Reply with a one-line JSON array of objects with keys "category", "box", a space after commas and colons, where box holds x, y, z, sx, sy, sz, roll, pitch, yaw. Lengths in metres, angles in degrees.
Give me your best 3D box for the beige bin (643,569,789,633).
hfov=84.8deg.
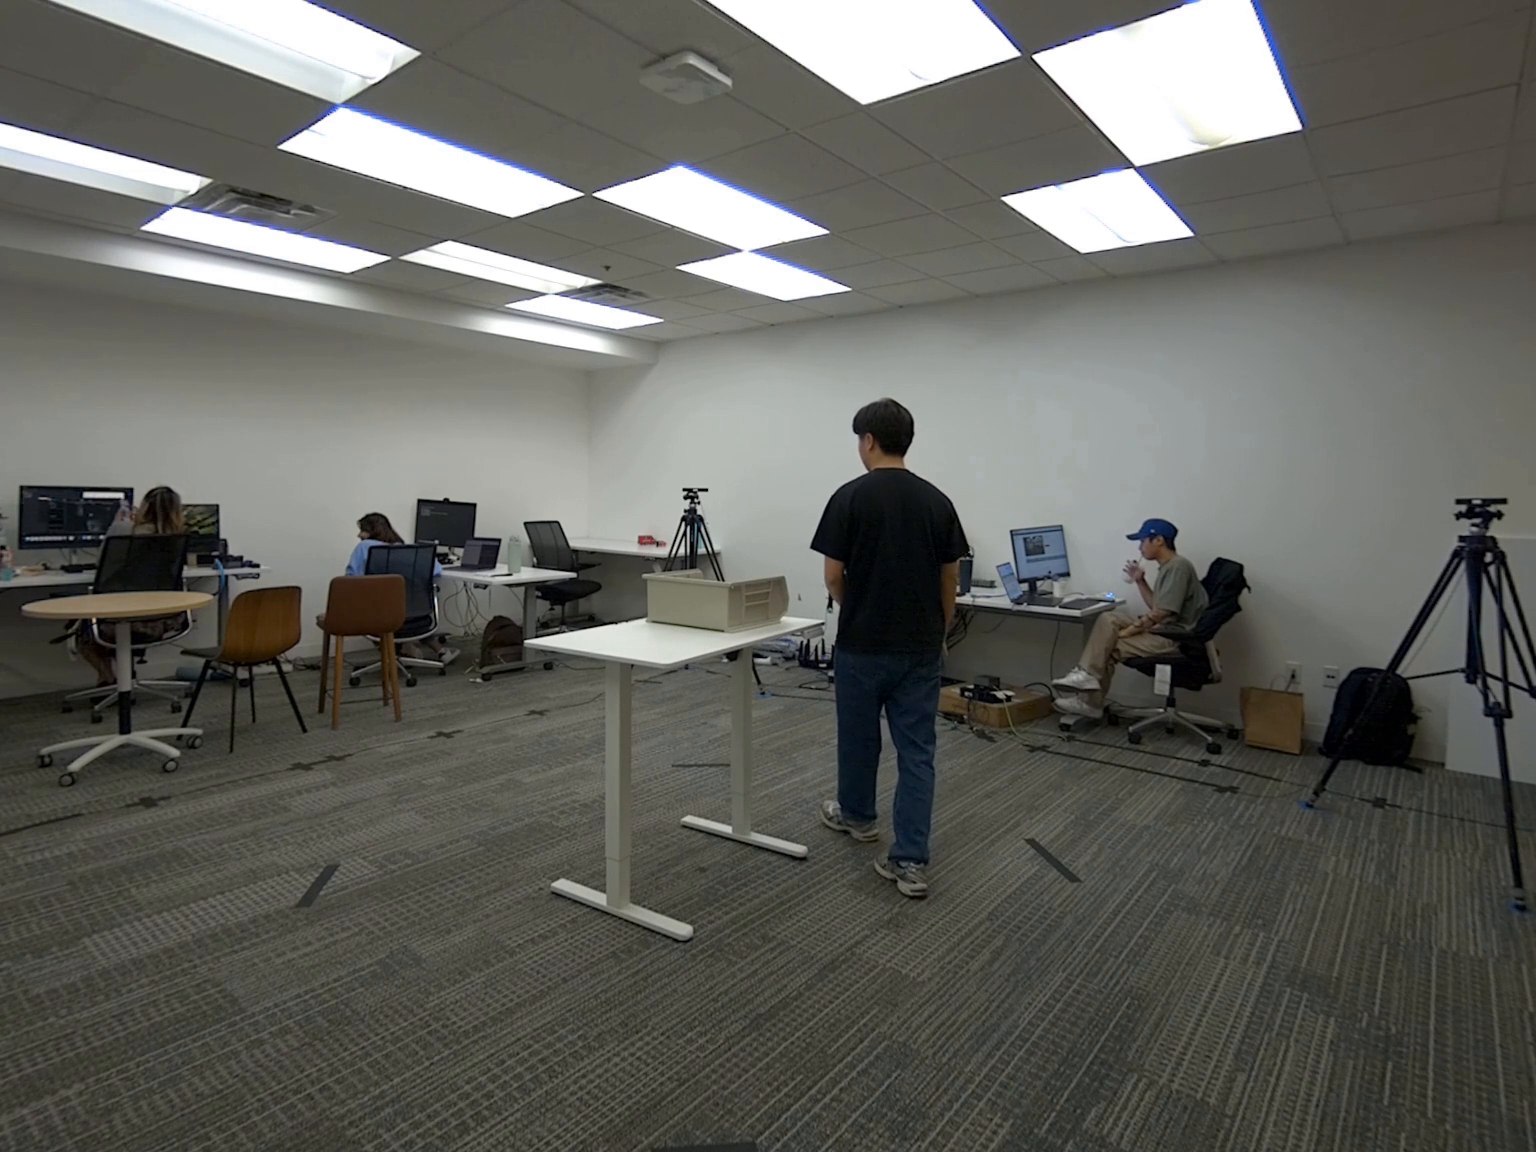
[{"category": "beige bin", "box": [-0.211, 0.085, 3.242, 0.436, 0.188, 0.367, 5, 8, 37]}]
